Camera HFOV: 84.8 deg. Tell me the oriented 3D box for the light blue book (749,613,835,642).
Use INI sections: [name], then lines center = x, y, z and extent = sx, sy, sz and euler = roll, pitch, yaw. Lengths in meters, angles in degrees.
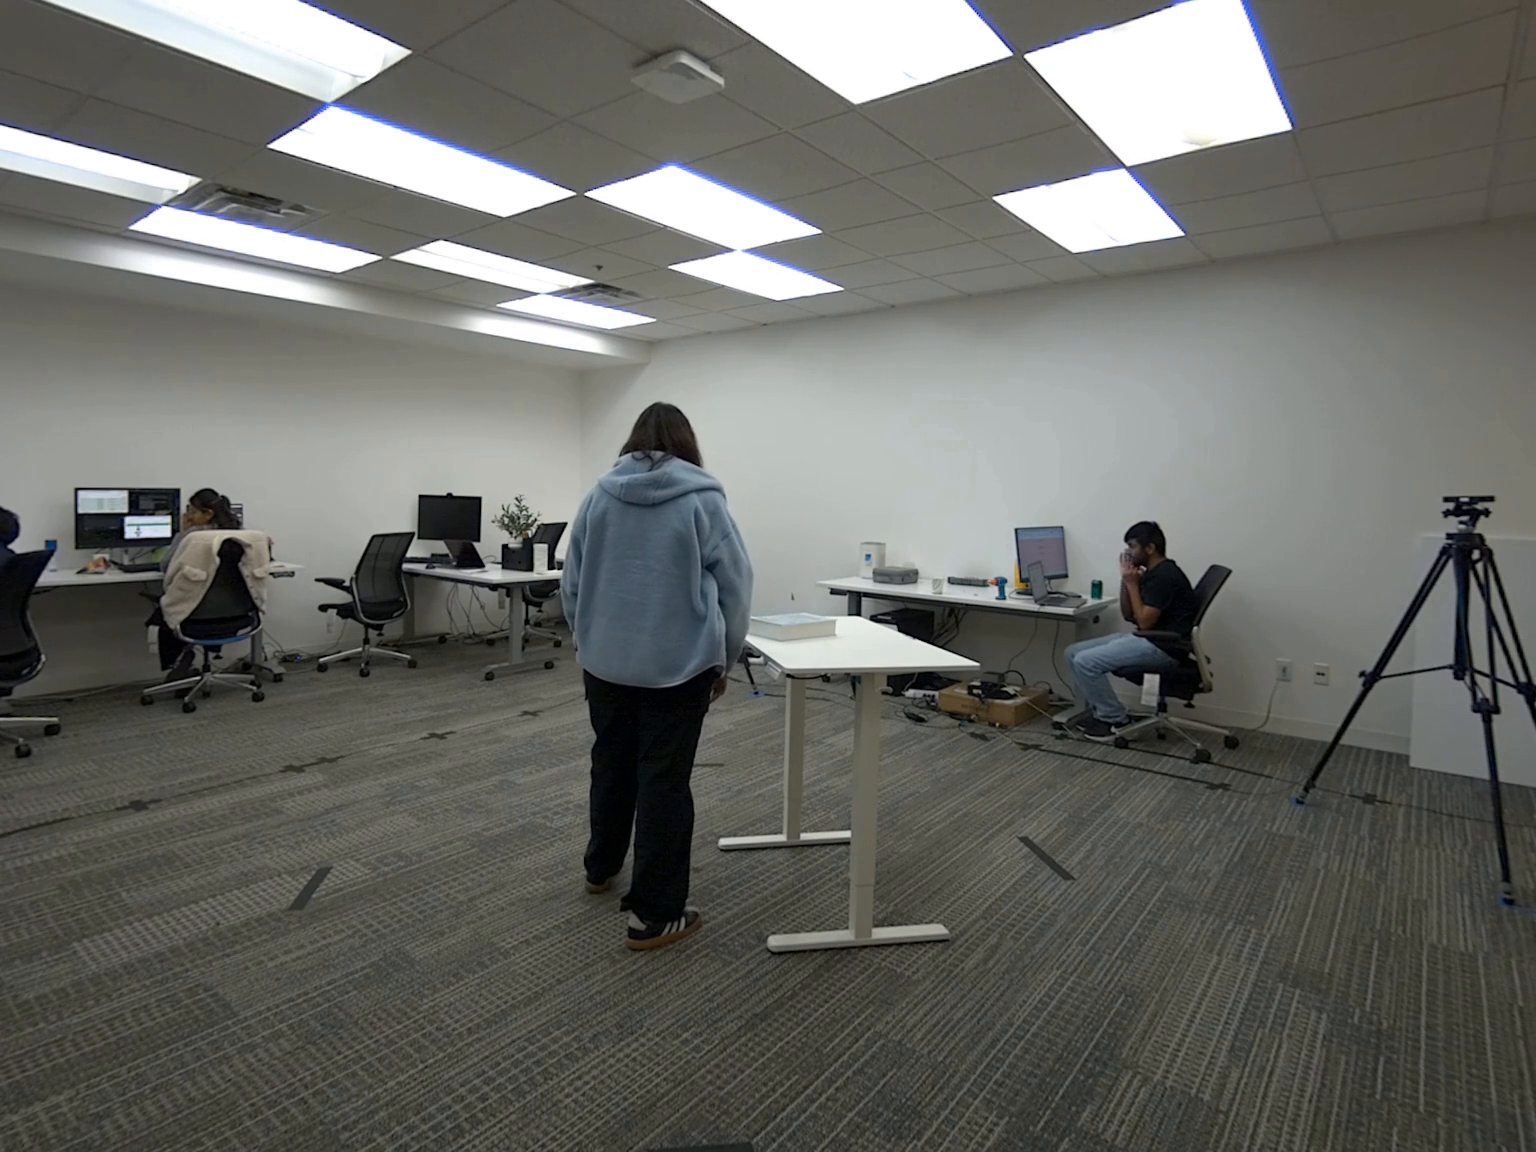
[light blue book]
center = 0.091, 0.174, 2.996
extent = 0.253, 0.059, 0.198
euler = -3, 7, -39
